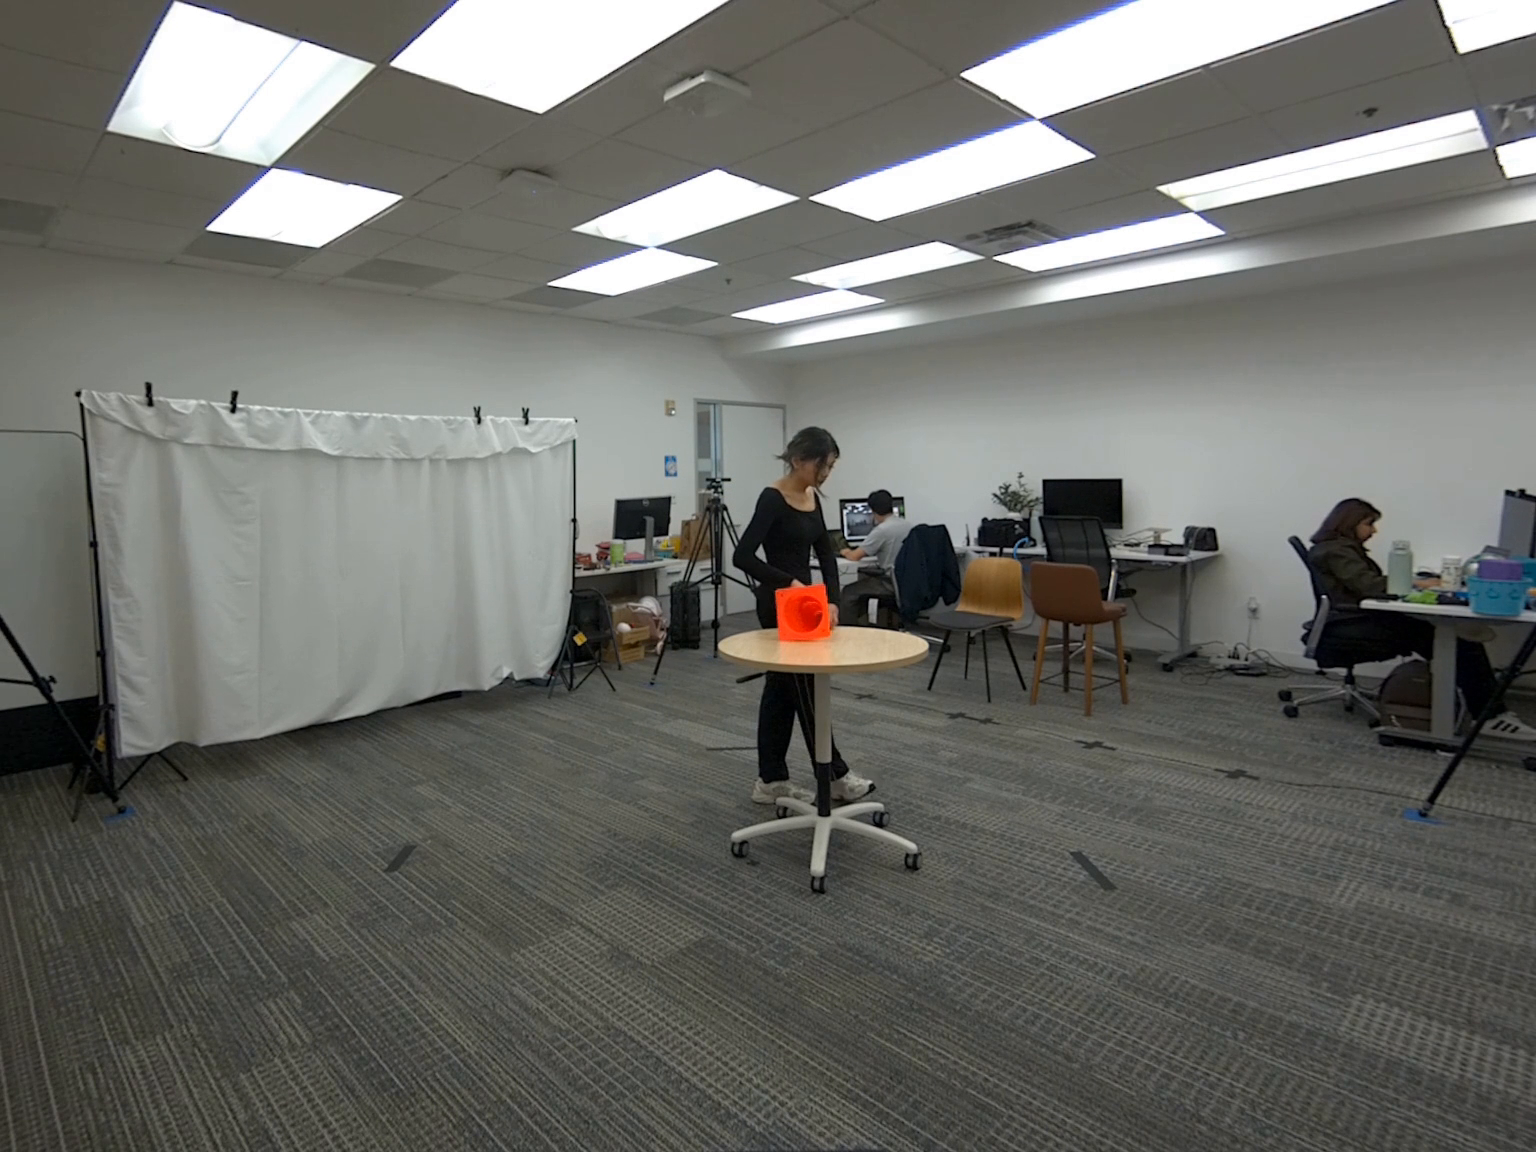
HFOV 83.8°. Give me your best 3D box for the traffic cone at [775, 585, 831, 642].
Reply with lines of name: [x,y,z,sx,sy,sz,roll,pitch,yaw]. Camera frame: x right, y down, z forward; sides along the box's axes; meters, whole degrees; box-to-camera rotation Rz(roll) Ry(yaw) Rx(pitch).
traffic cone: [0.182,0.167,3.380,0.207,0.207,0.374,-3,-9,17]
